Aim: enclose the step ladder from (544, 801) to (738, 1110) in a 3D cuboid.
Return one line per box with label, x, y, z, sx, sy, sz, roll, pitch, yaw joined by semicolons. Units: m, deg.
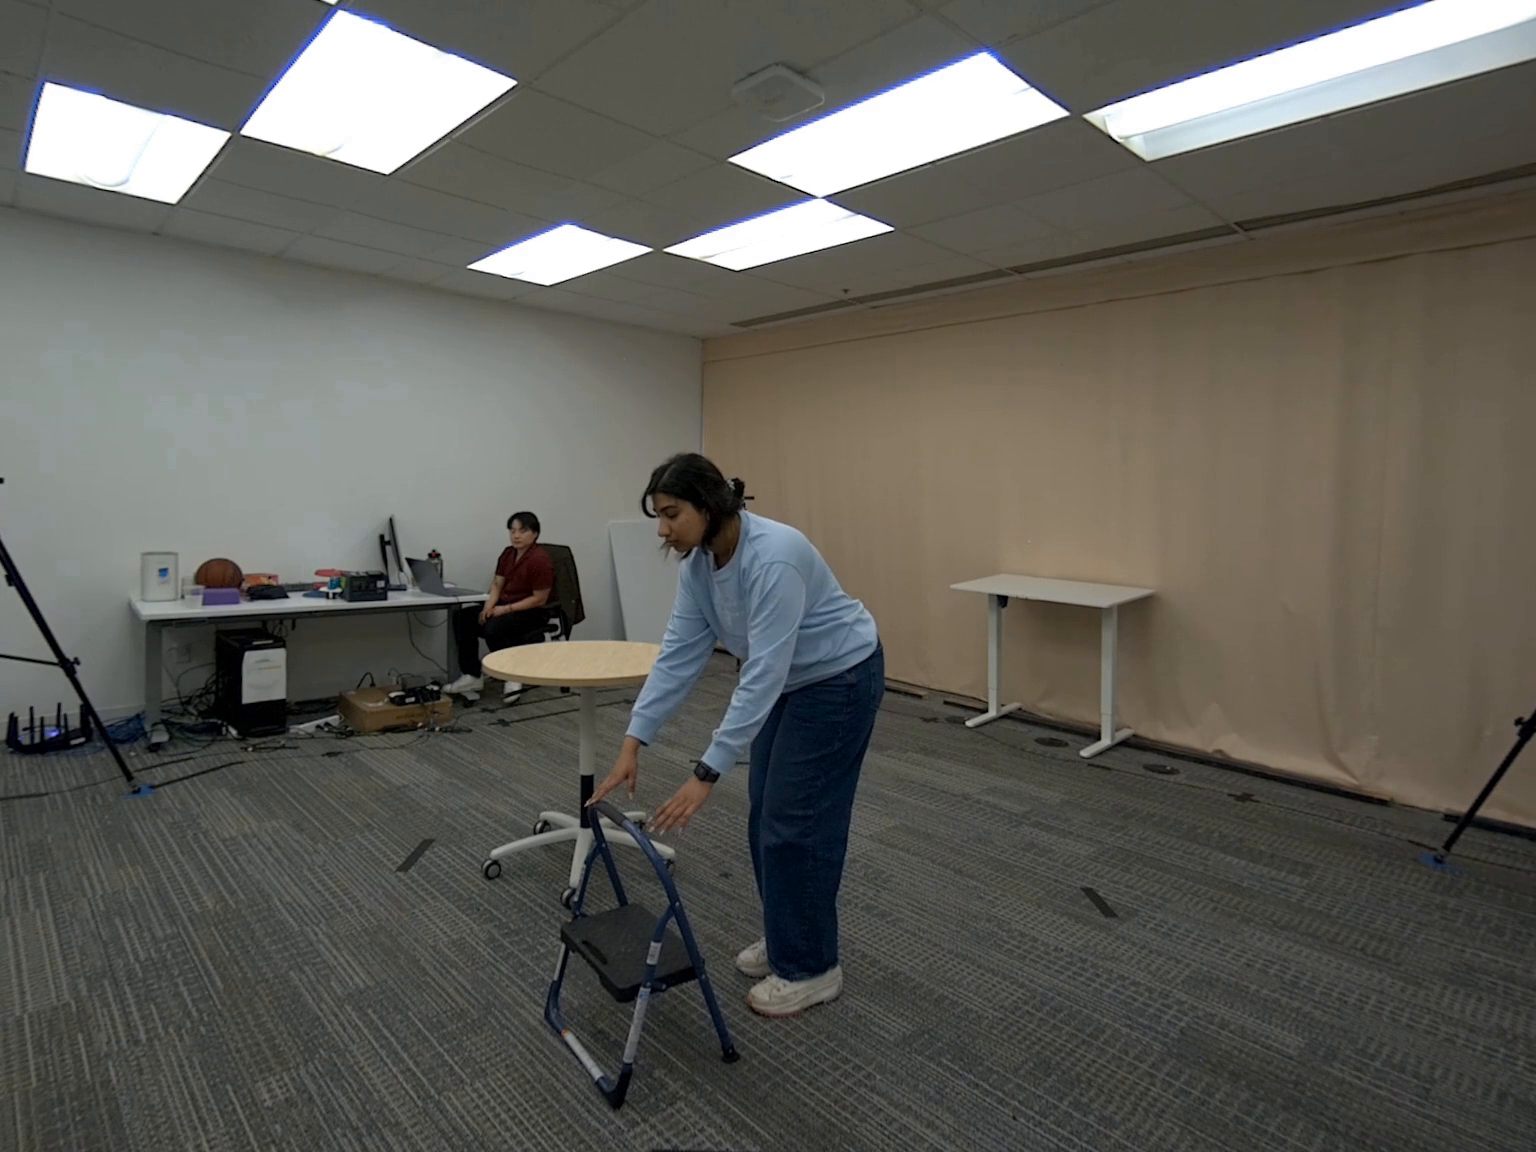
step ladder;-0.336;0.890;2.141;0.341;0.604;0.441;-1;5;-37
